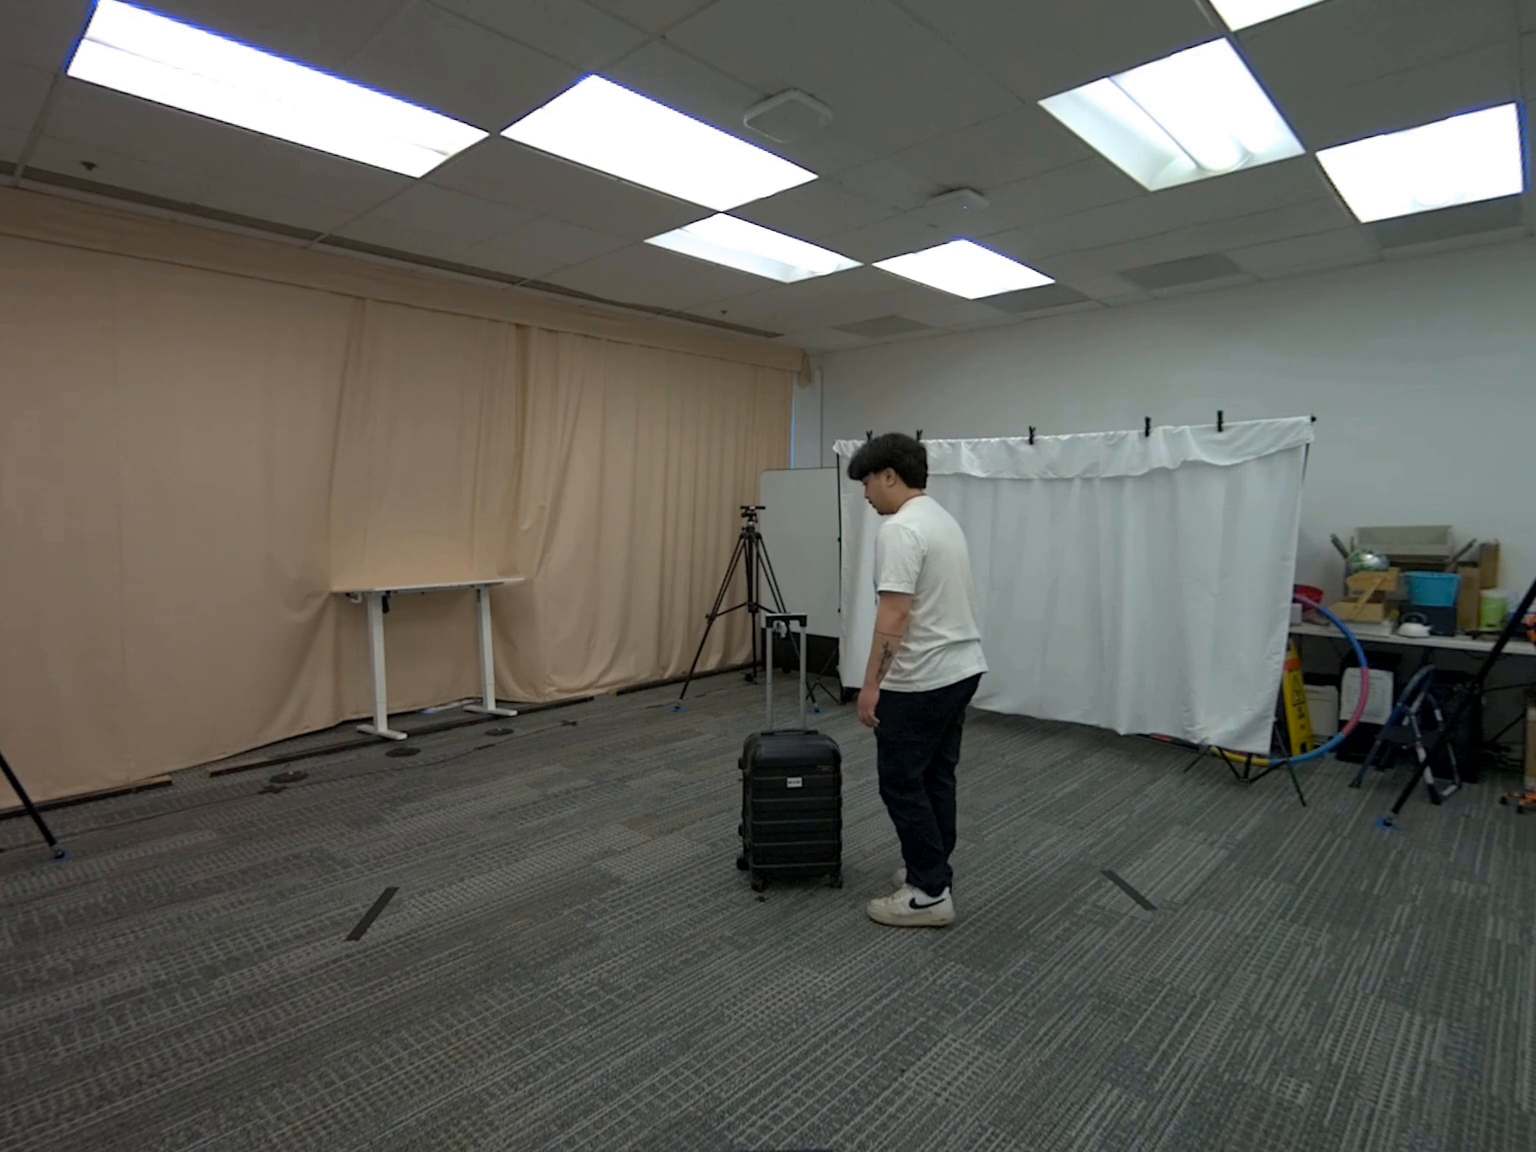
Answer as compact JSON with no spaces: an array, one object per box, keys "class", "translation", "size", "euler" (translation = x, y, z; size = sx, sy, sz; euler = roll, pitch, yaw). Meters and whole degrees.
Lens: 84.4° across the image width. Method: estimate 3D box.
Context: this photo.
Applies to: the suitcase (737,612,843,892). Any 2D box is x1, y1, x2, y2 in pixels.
[{"class":"suitcase","translation":[0.092,0.657,3.115],"size":[0.381,0.975,0.260],"euler":[-1,6,-7]}]
